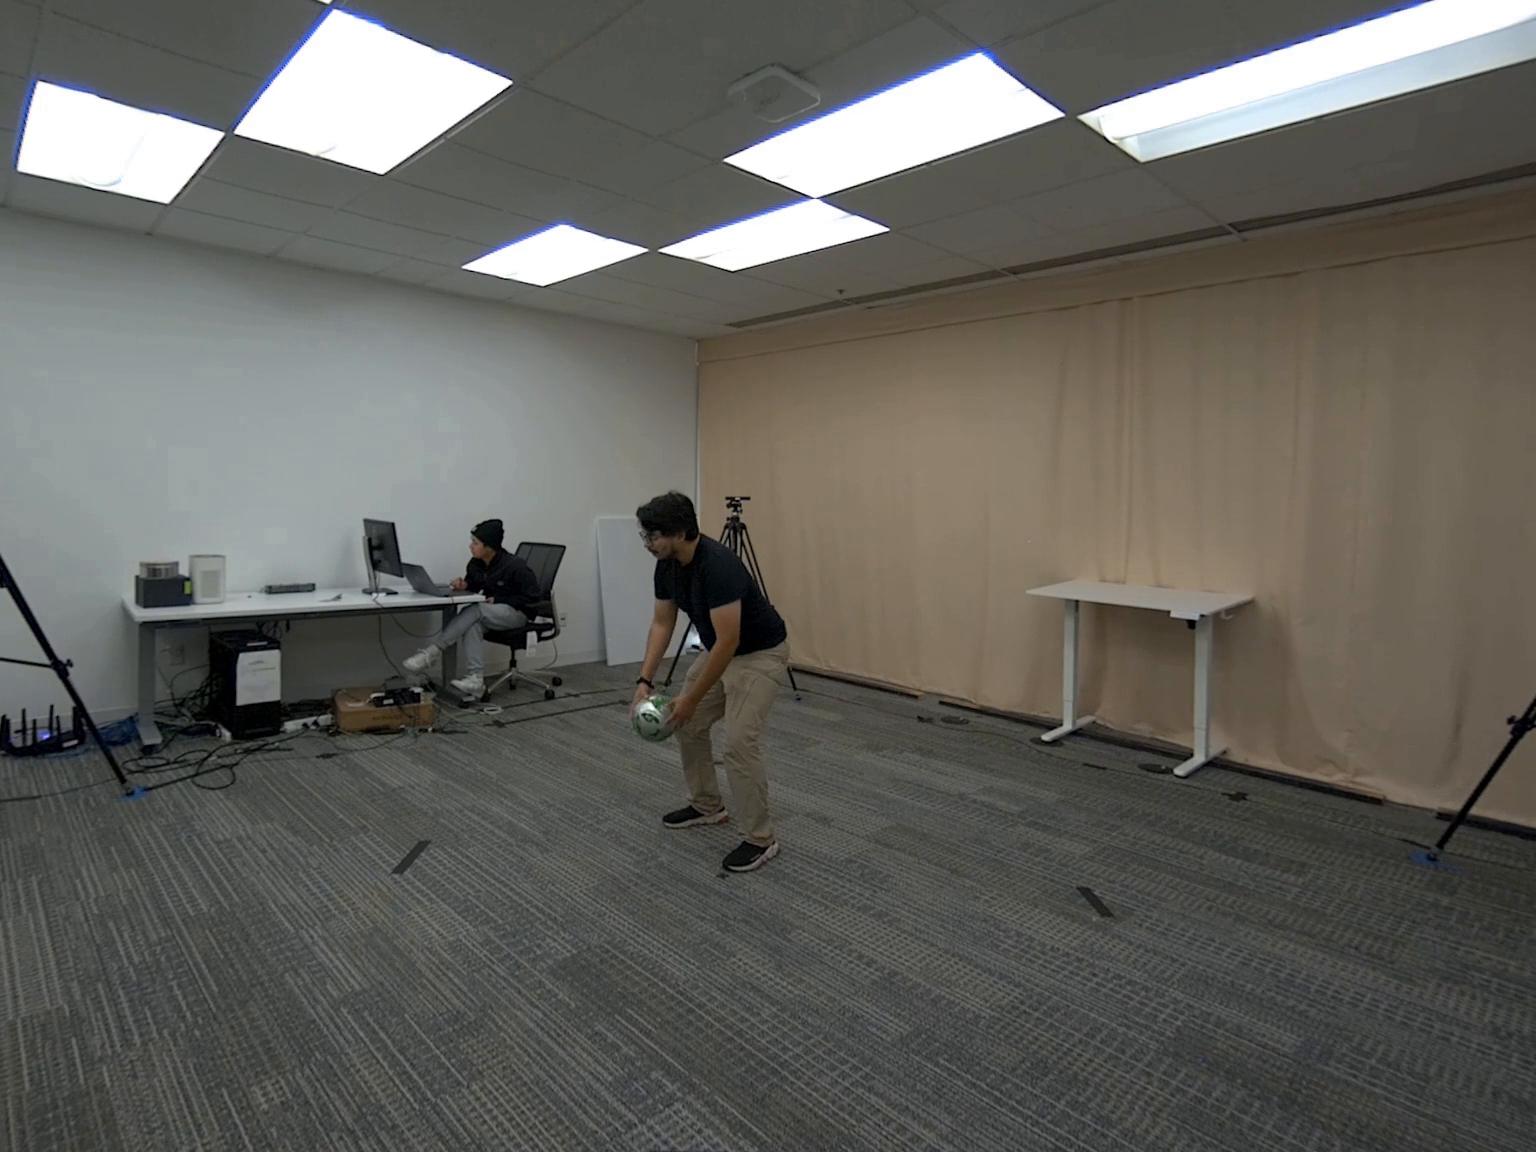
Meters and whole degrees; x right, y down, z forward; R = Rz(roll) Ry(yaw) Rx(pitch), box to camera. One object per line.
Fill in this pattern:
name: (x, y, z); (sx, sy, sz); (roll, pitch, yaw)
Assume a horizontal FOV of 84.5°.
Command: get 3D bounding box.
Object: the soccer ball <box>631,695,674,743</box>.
soccer ball: (-0.456, 0.554, 3.352); (0.187, 0.187, 0.188); (1, 4, -1)
